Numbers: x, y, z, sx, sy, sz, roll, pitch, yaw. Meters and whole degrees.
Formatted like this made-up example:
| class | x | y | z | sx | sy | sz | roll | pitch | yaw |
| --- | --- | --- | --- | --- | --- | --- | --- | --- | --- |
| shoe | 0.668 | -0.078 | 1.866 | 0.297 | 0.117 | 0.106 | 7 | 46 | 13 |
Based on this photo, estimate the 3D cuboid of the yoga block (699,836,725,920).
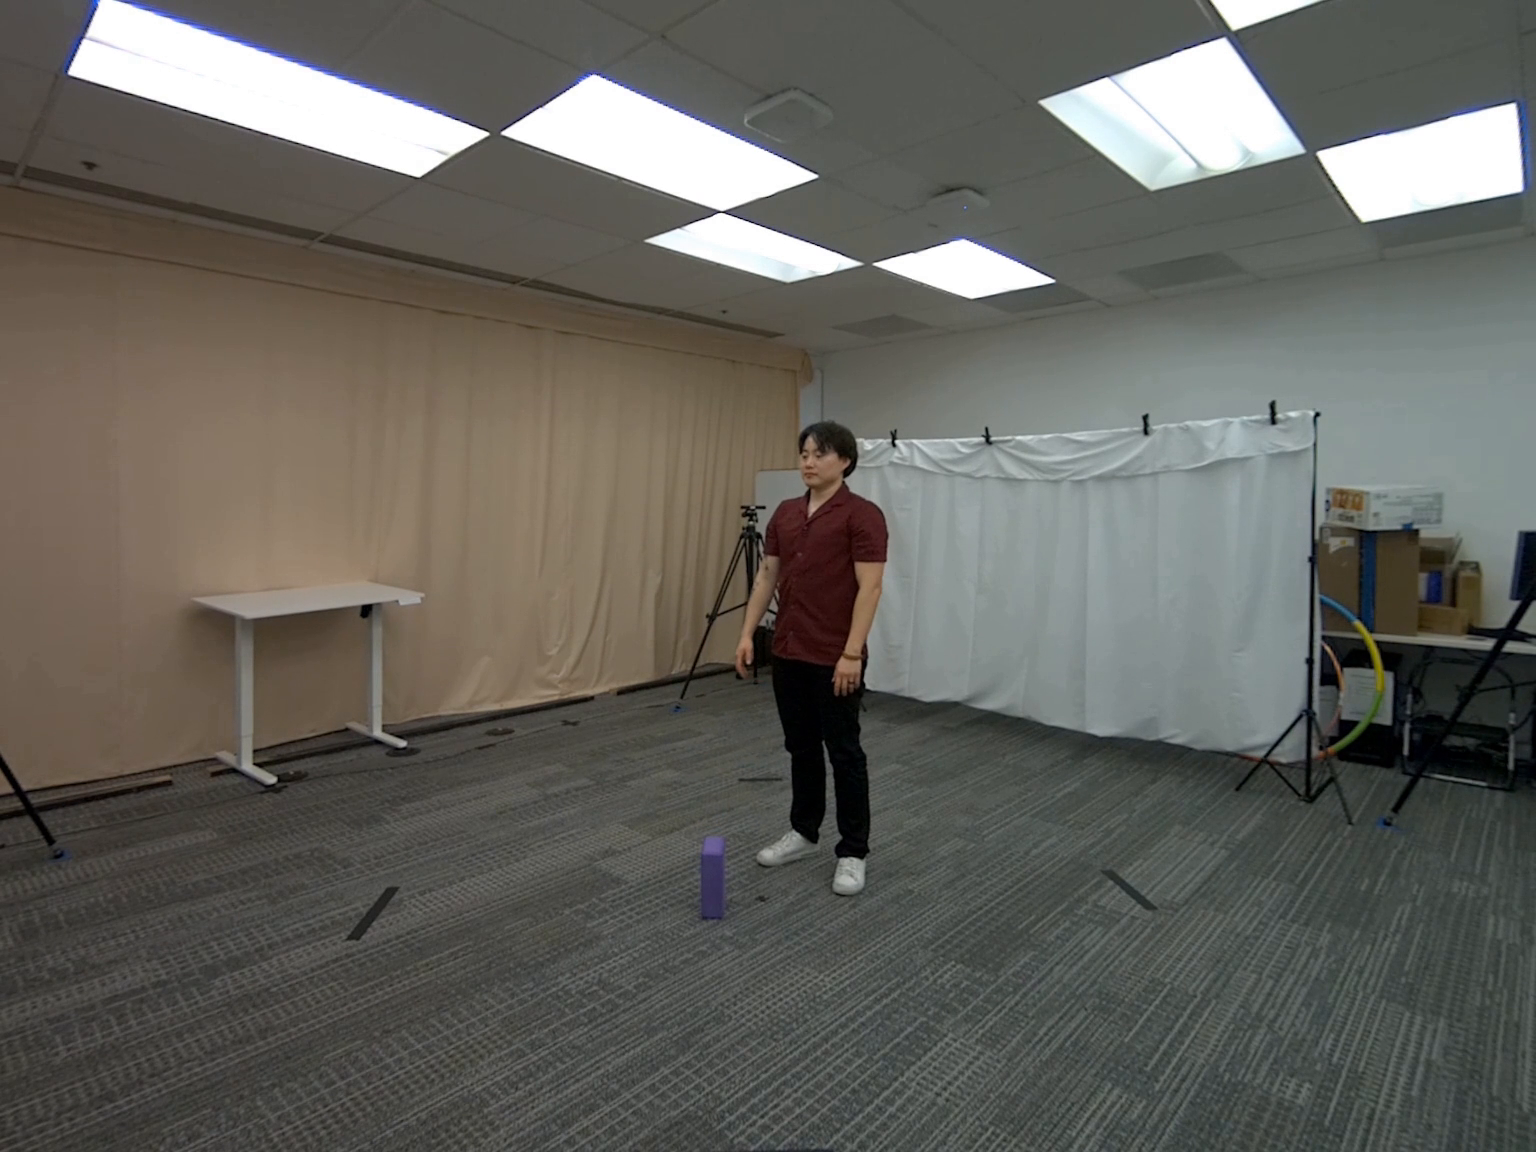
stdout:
| class | x | y | z | sx | sy | sz | roll | pitch | yaw |
| --- | --- | --- | --- | --- | --- | --- | --- | --- | --- |
| yoga block | -0.186 | 1.039 | 2.896 | 0.077 | 0.229 | 0.149 | 1 | 3 | 2 |
